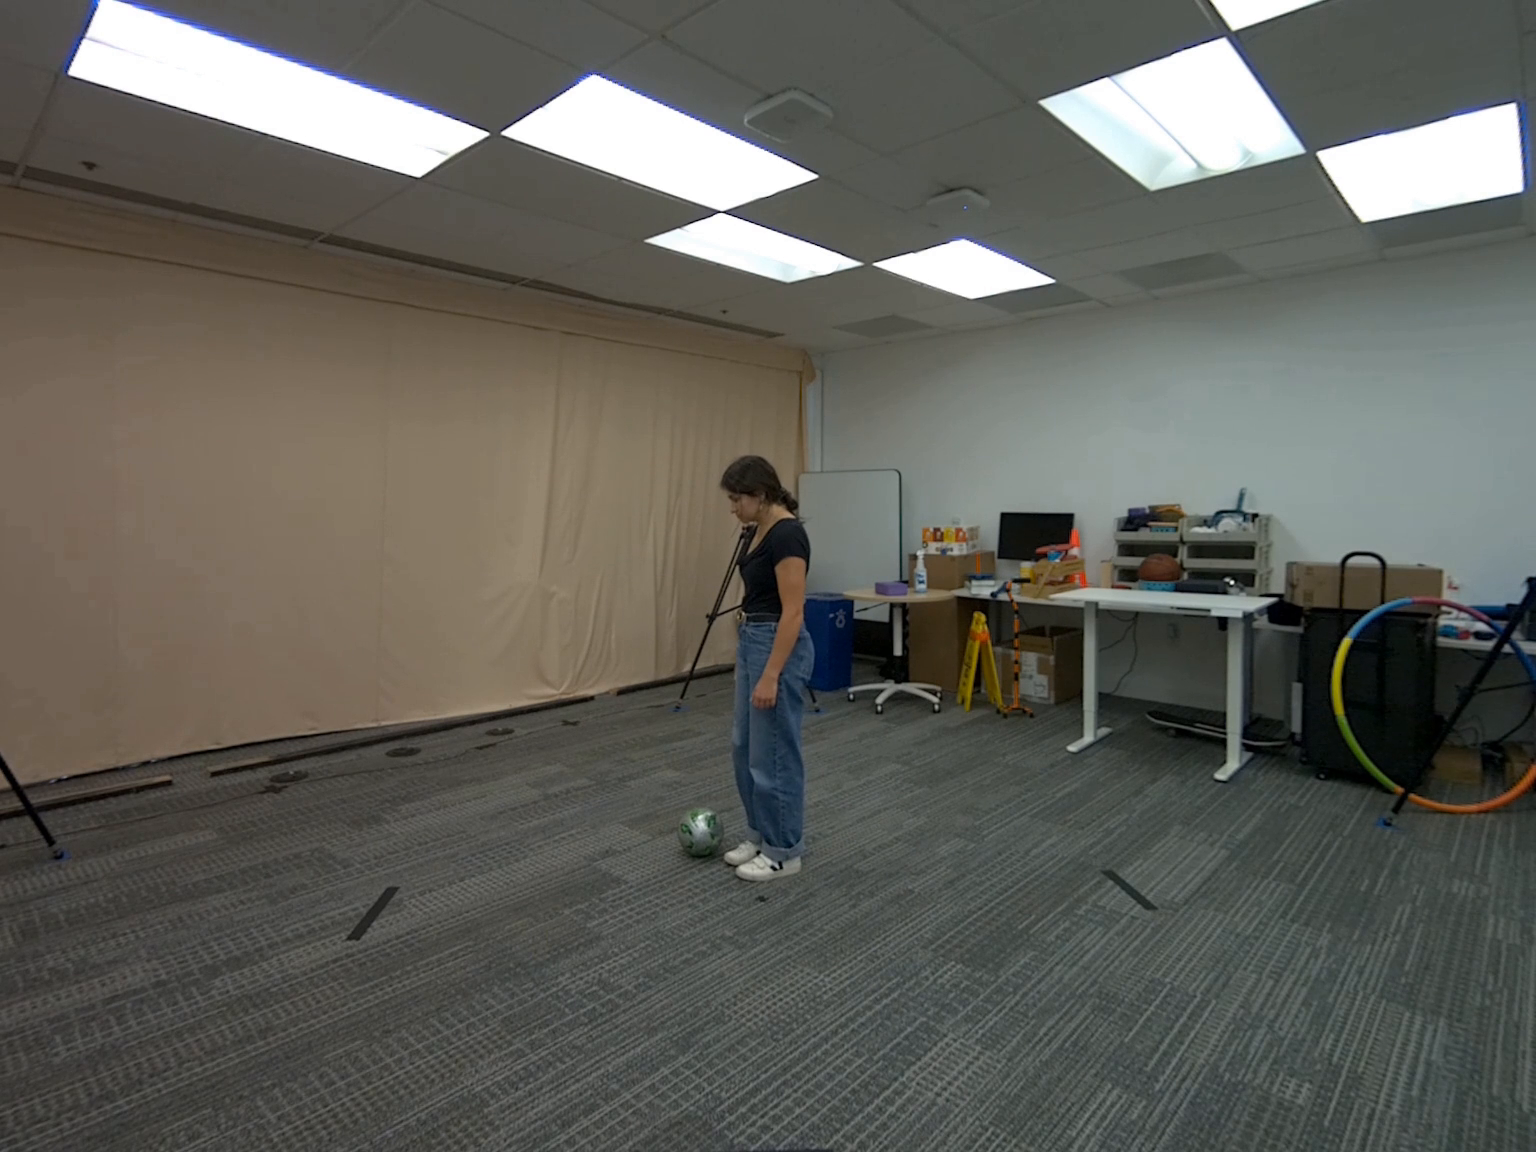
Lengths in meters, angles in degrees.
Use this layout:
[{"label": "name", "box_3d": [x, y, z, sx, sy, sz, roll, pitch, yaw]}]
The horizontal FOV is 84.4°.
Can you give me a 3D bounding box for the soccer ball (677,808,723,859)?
[{"label": "soccer ball", "box_3d": [-0.261, 1.030, 3.367, 0.187, 0.187, 0.188, 0, 4, -2]}]
